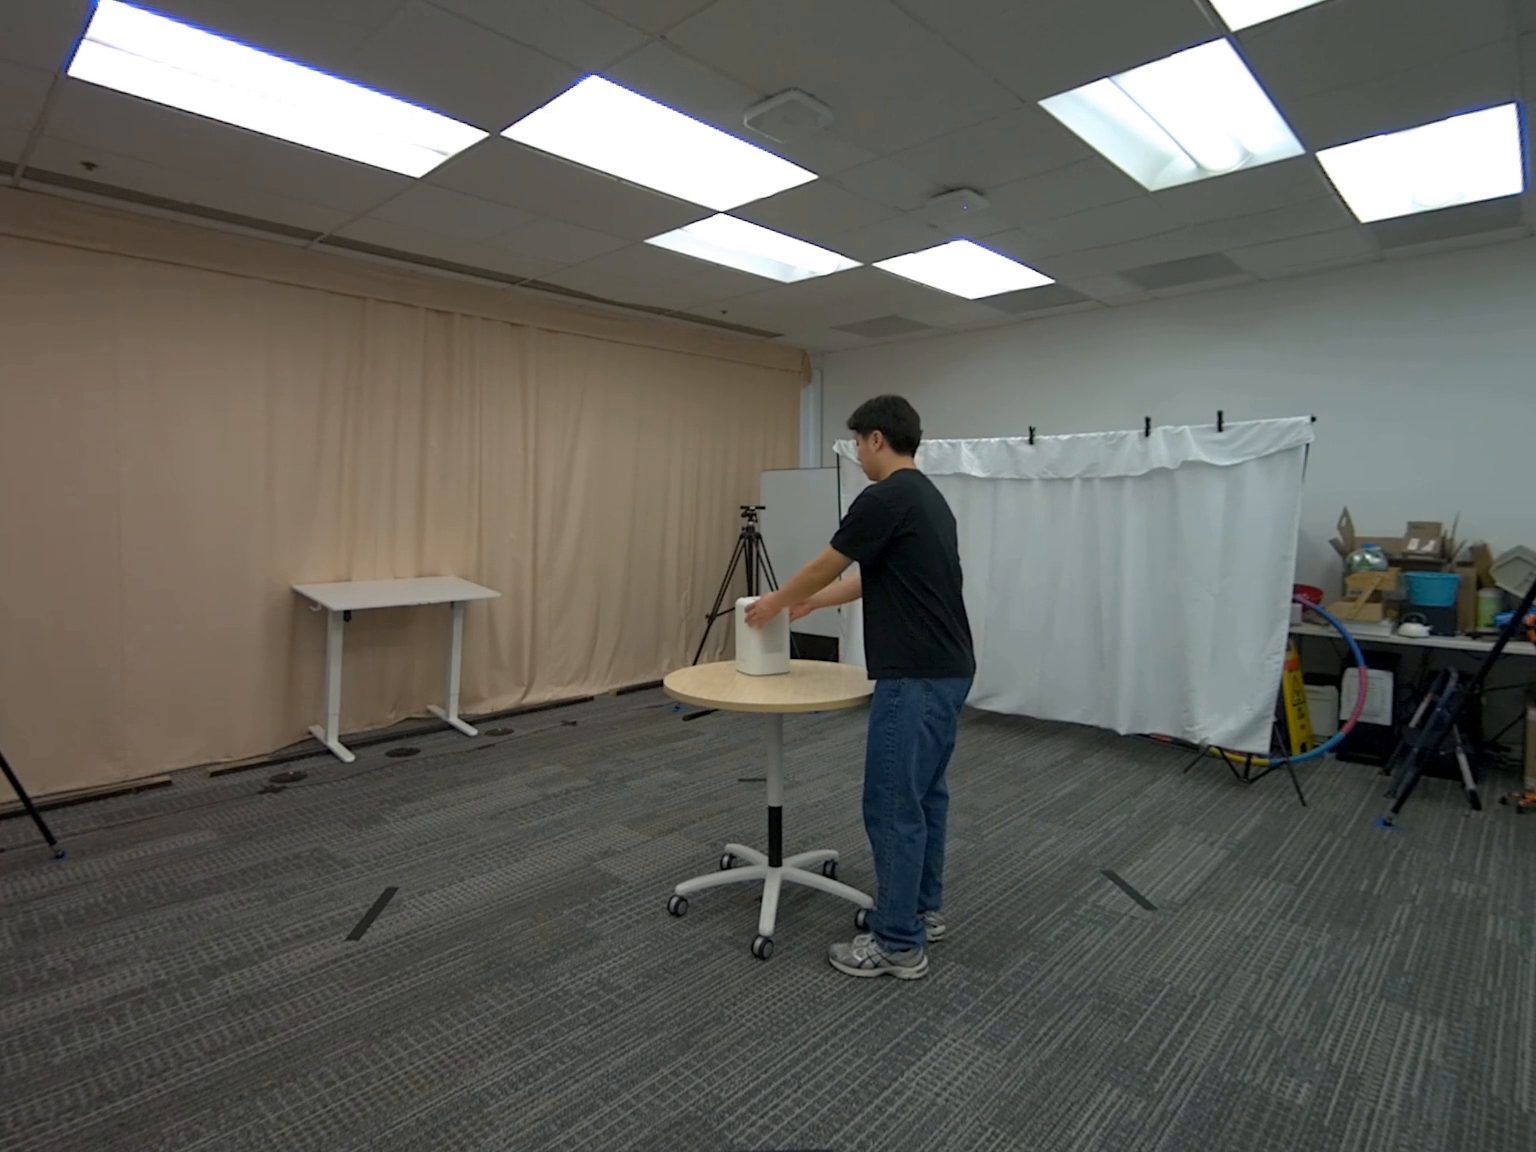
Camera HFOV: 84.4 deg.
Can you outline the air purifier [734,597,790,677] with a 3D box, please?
[{"bbox_3d":[-0.017,0.212,3.040,0.167,0.265,0.175,0,1,-26],"label":"air purifier"}]
